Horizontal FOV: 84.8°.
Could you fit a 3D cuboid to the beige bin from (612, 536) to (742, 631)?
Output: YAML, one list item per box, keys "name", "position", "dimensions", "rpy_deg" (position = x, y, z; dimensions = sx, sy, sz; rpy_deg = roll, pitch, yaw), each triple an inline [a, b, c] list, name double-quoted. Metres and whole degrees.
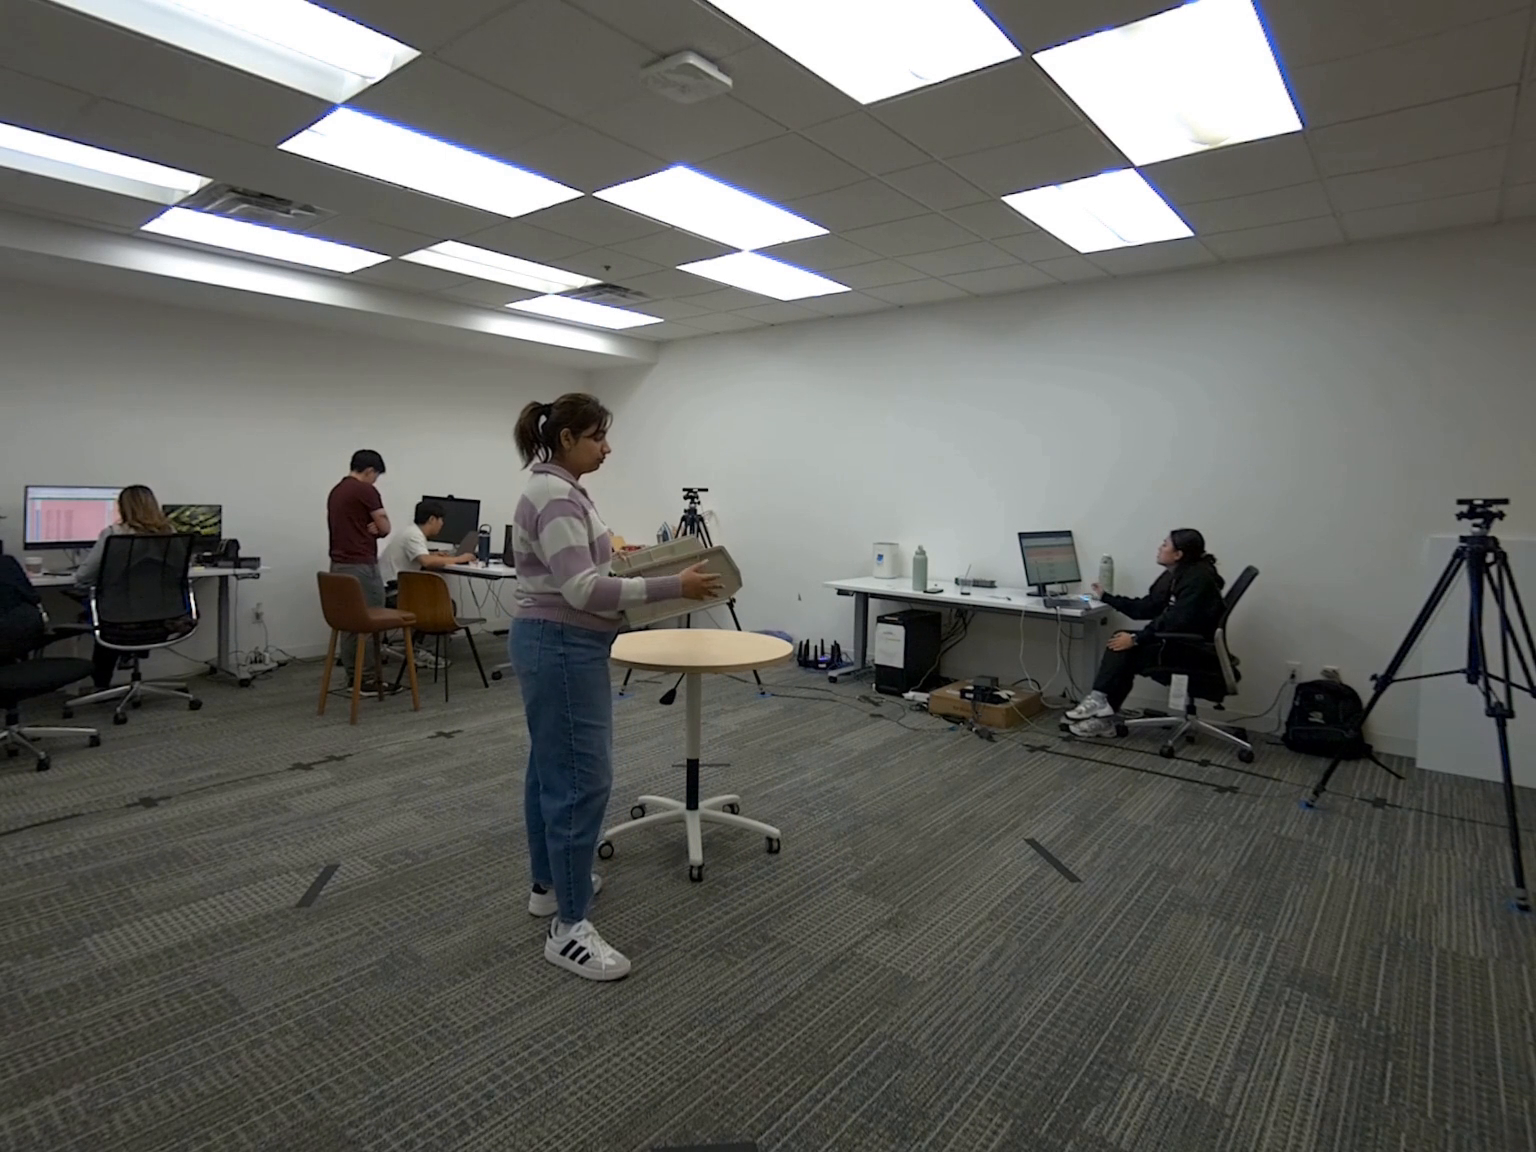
- name: "beige bin"
  position: [-0.325, 0.009, 2.750]
  dimensions: [0.374, 0.187, 0.431]
  rpy_deg: [-17, 12, -13]
